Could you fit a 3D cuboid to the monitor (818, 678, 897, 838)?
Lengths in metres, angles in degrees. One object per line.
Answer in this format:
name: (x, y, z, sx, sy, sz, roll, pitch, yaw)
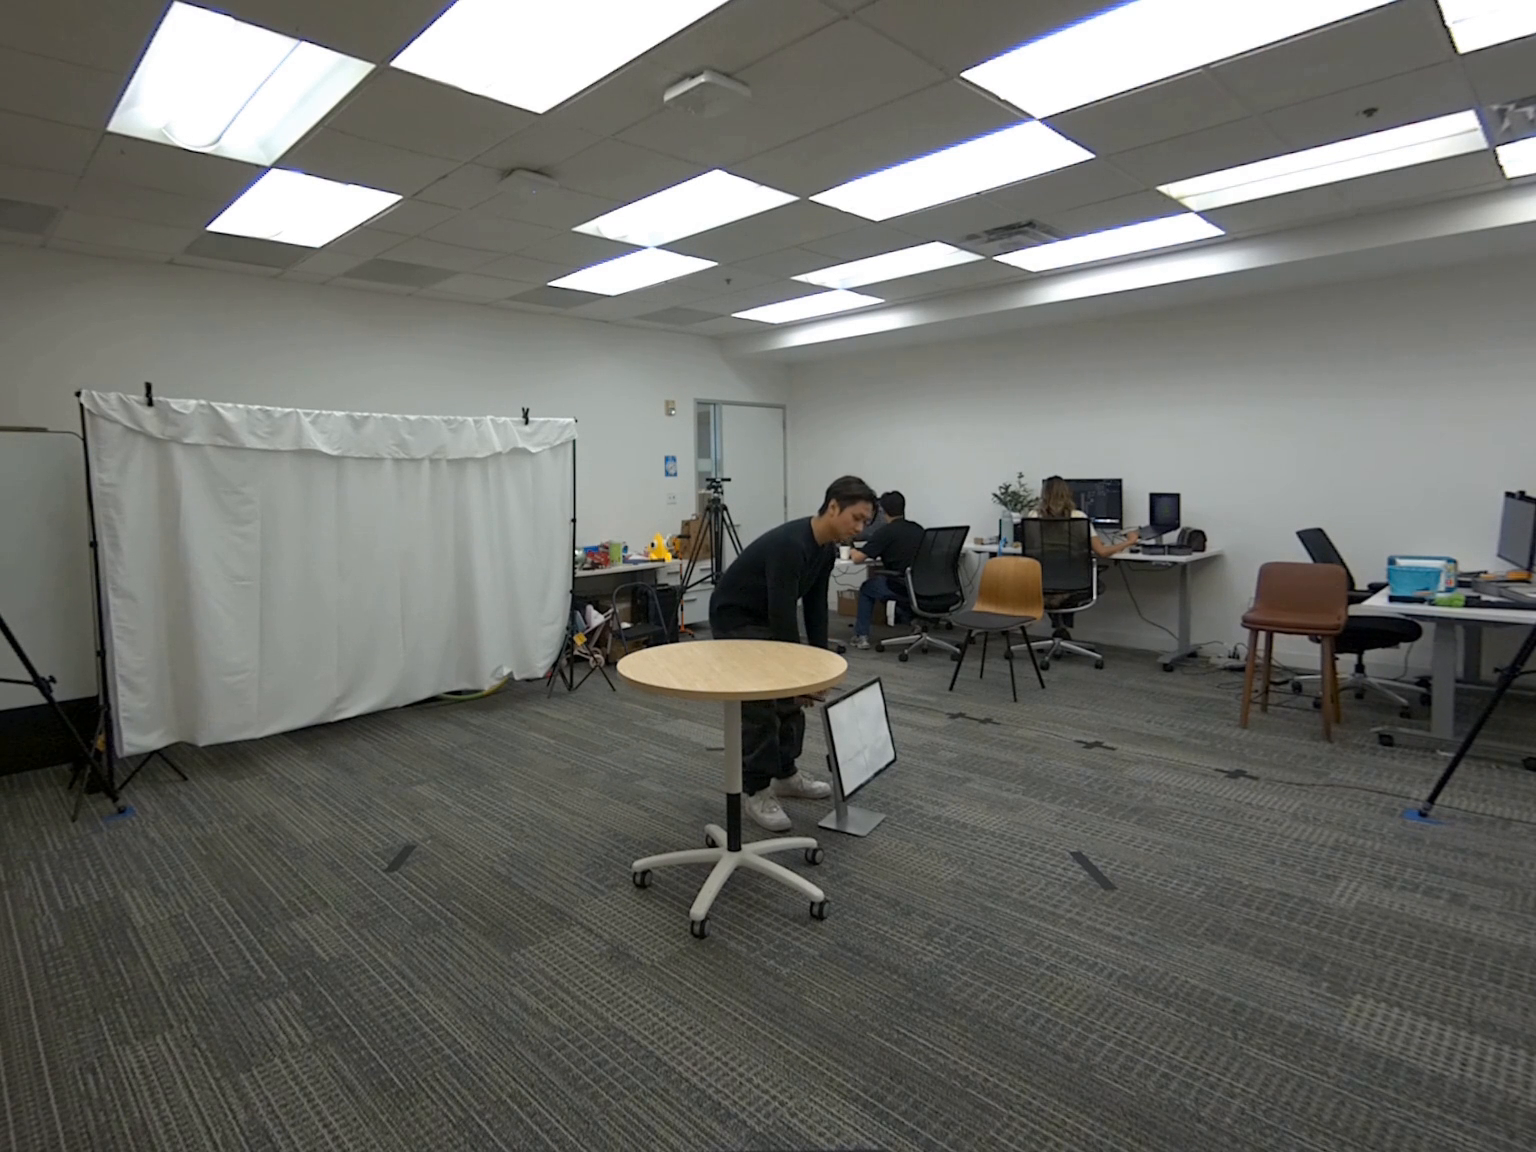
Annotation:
monitor: (0.348, 0.733, 3.440, 0.192, 0.520, 0.527, 3, 6, 31)
